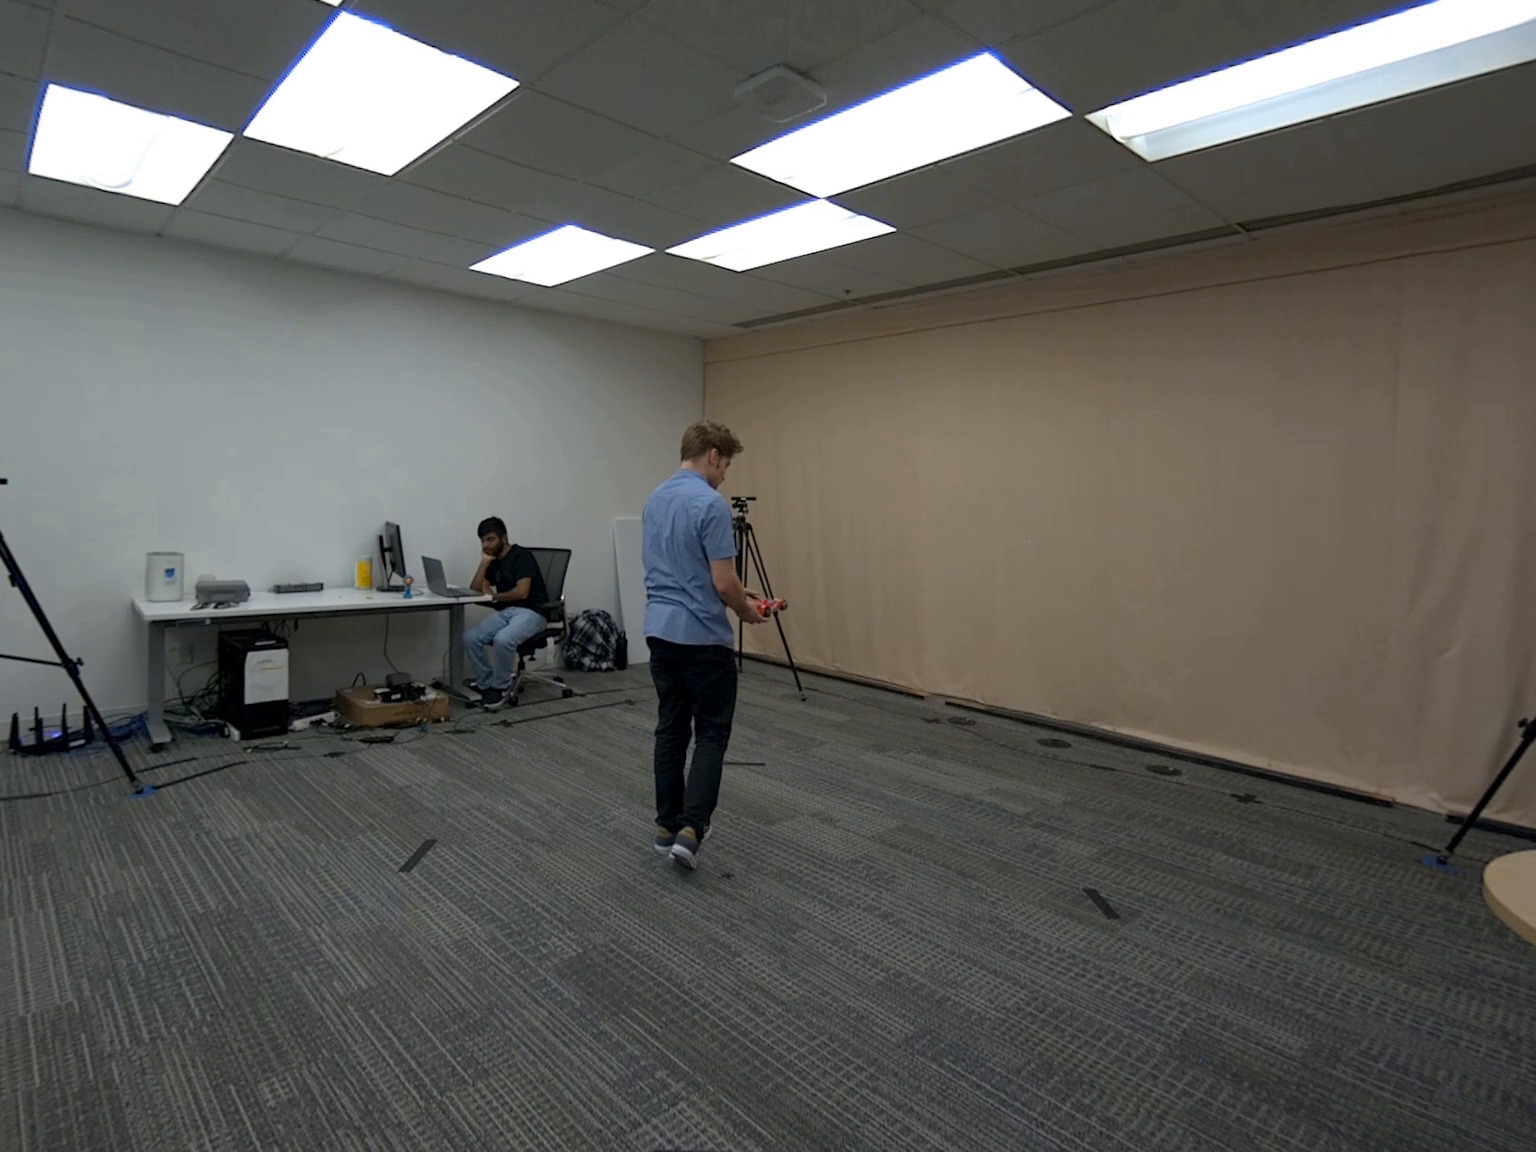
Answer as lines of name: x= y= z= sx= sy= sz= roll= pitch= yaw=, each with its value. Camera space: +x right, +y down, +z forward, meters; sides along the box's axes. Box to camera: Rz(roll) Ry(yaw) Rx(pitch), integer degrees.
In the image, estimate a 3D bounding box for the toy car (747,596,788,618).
toy car: x=-0.038 y=0.138 z=3.496 sx=0.132 sy=0.083 sz=0.250 roll=-7 pitch=-2 yaw=26
